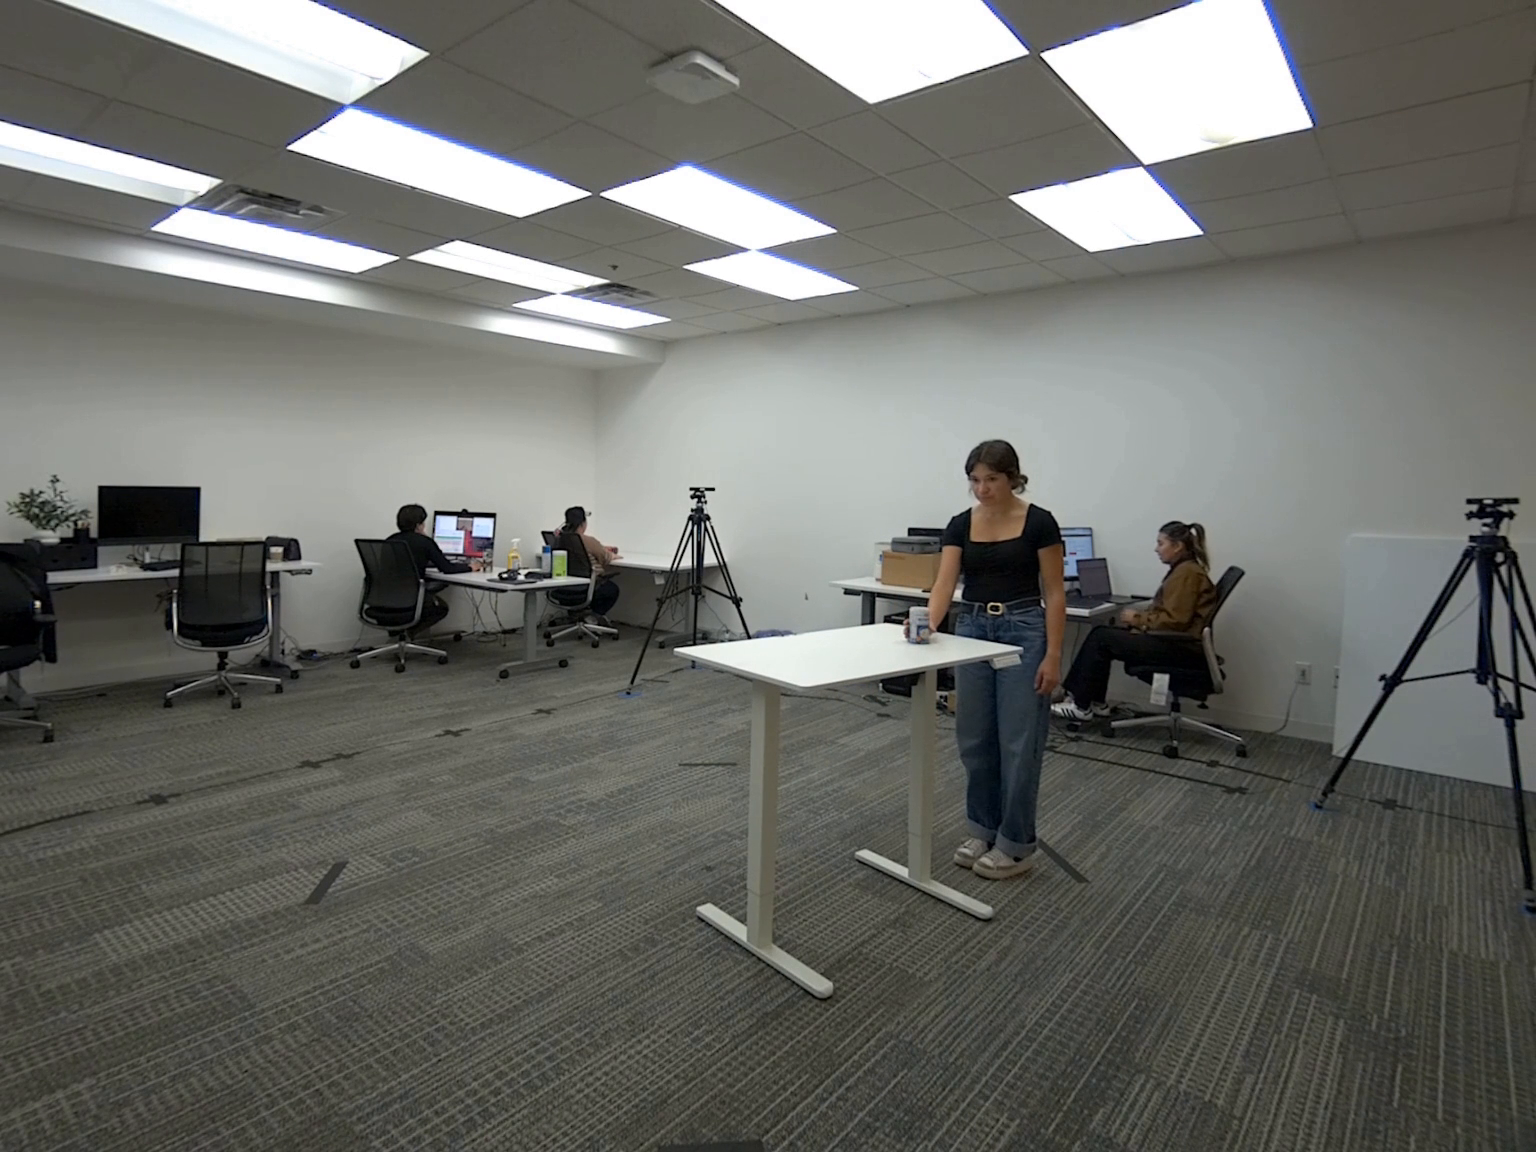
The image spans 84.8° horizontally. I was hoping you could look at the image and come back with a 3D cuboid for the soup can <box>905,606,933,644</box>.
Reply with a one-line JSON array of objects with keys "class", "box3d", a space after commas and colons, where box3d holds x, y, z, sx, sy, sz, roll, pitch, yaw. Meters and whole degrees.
[{"class": "soup can", "box3d": [0.500, 0.164, 2.858, 0.067, 0.121, 0.067, -2, 3, -2]}]
